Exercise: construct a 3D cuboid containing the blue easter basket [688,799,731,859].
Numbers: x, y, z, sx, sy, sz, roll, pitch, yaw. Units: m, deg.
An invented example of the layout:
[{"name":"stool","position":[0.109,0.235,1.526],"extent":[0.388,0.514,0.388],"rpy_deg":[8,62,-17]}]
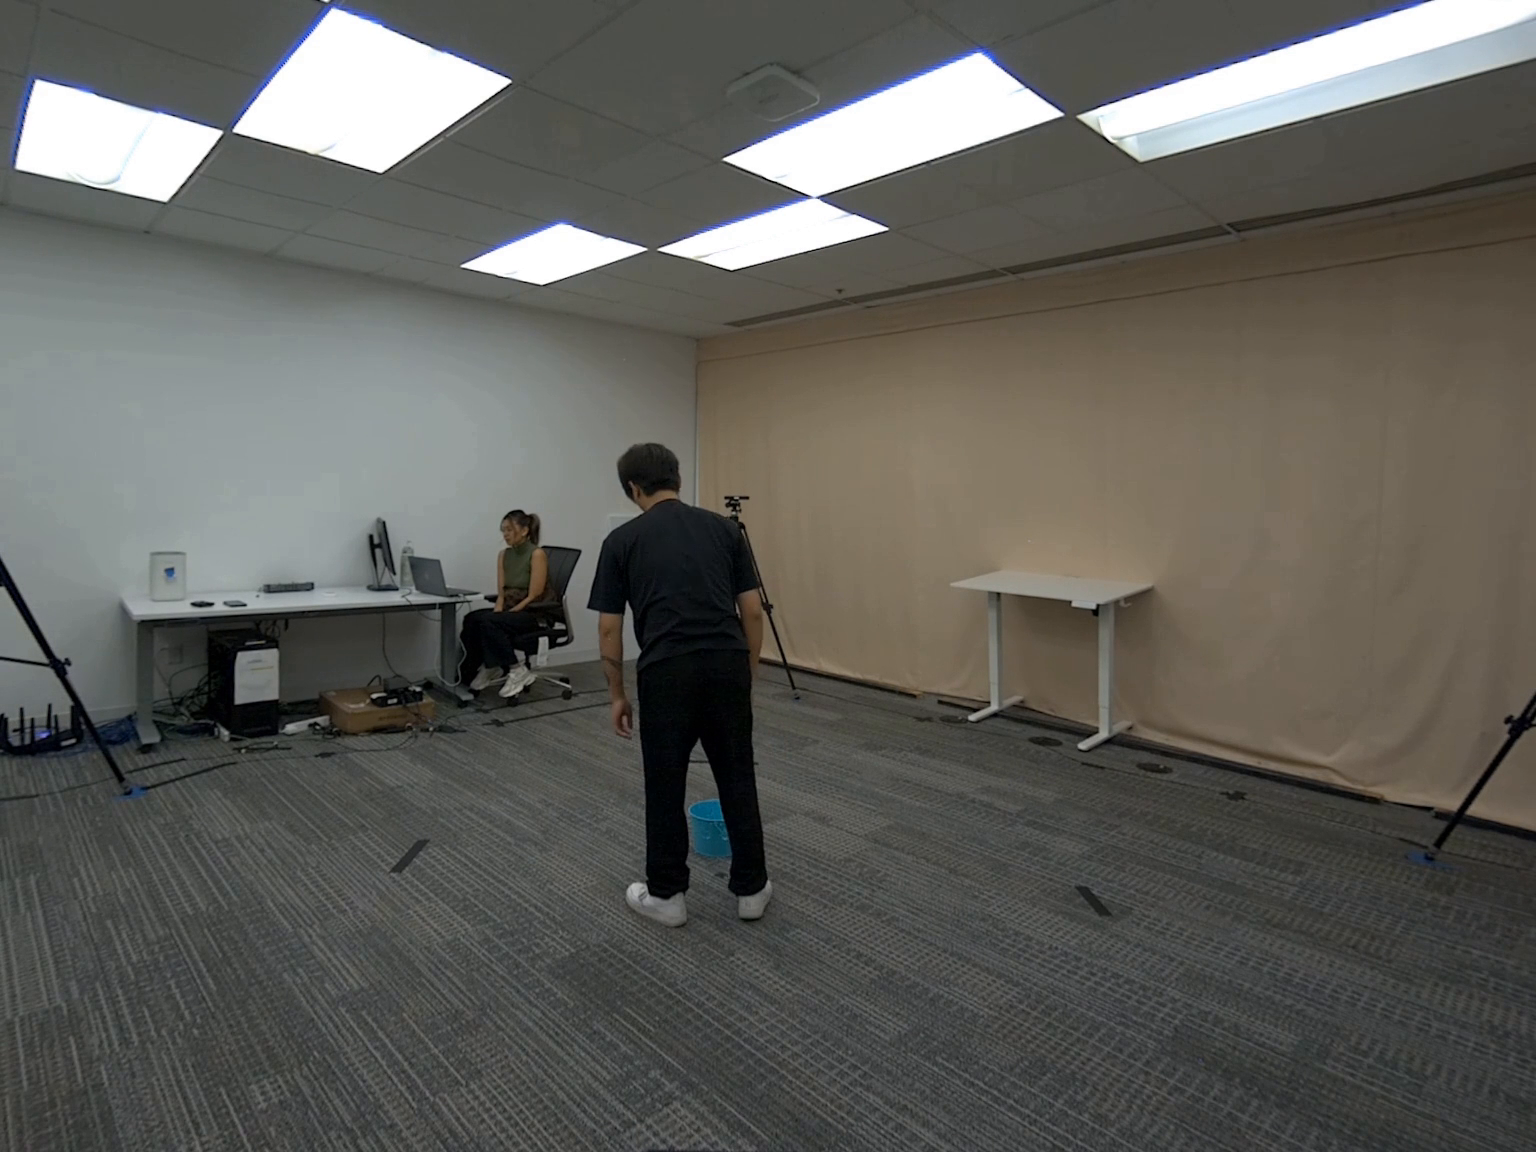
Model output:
[{"name":"blue easter basket","position":[-0.206,1.004,3.340],"extent":[0.243,0.155,0.244],"rpy_deg":[1,4,-1]}]
